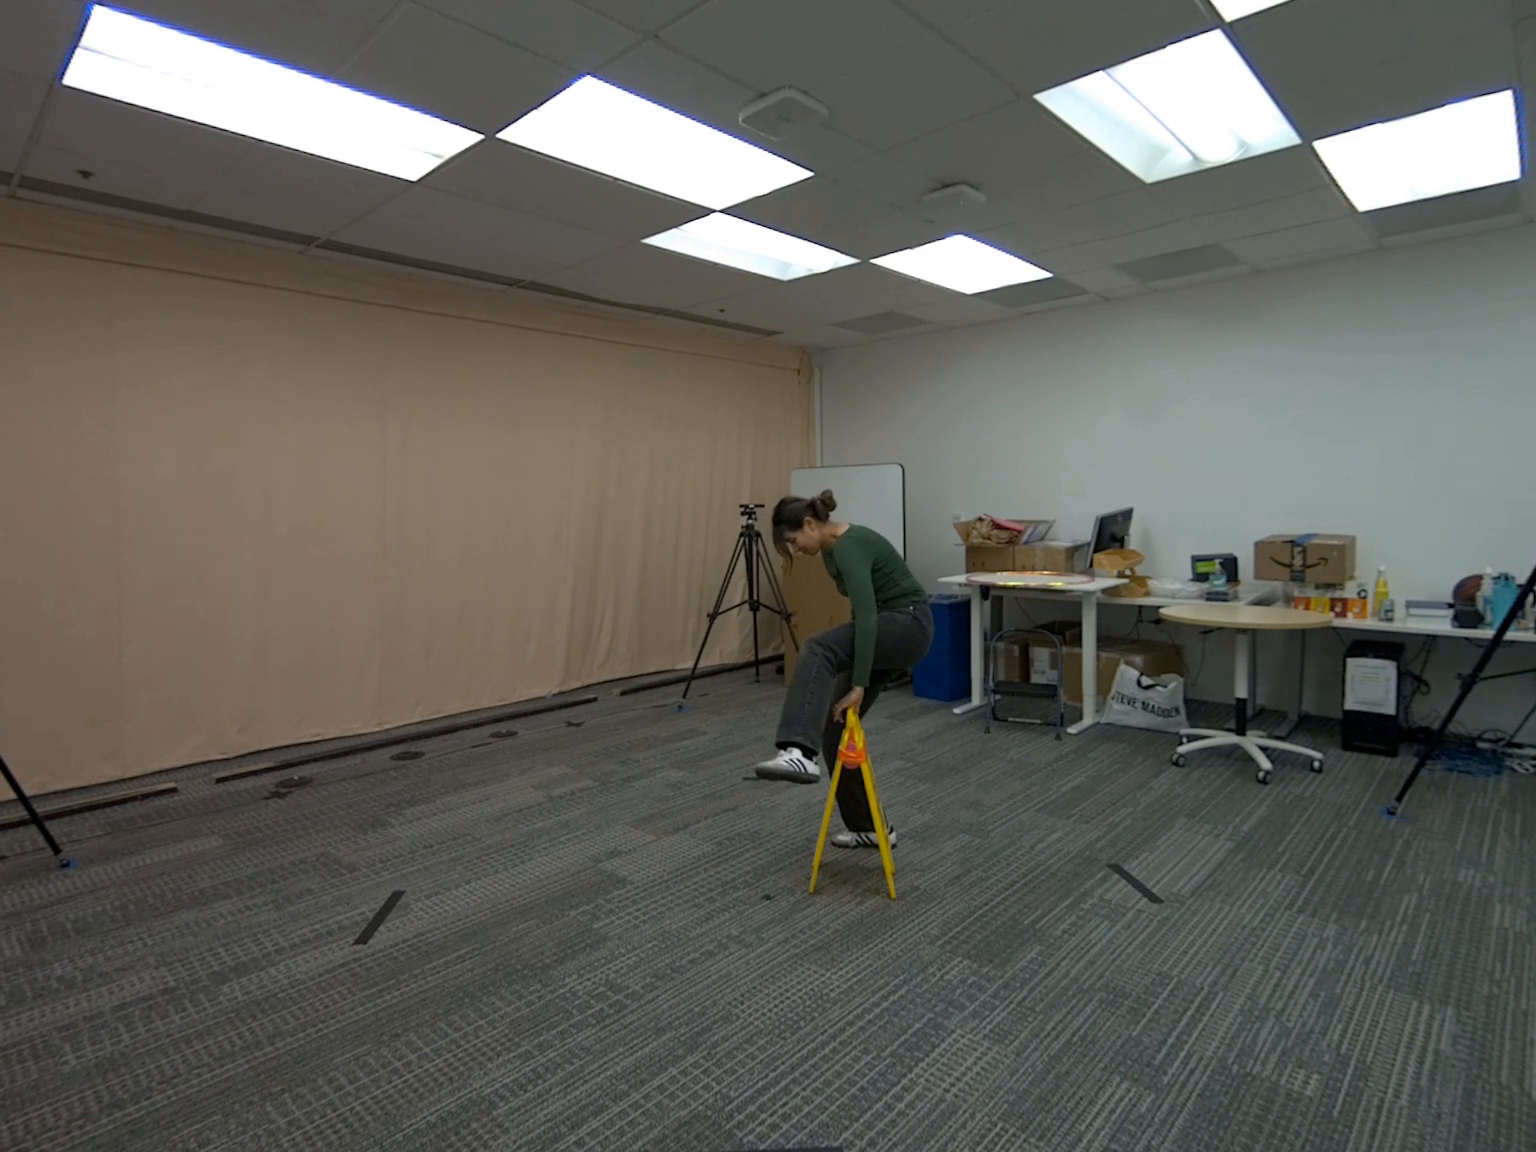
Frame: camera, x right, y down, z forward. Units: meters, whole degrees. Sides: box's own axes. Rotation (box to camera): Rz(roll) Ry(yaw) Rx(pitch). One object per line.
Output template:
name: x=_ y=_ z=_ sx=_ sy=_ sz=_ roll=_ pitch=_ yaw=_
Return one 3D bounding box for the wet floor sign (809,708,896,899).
wet floor sign: x=0.309 y=0.805 z=3.090 sx=0.293 sy=0.645 sz=0.279 roll=0 pitch=2 yaw=9
